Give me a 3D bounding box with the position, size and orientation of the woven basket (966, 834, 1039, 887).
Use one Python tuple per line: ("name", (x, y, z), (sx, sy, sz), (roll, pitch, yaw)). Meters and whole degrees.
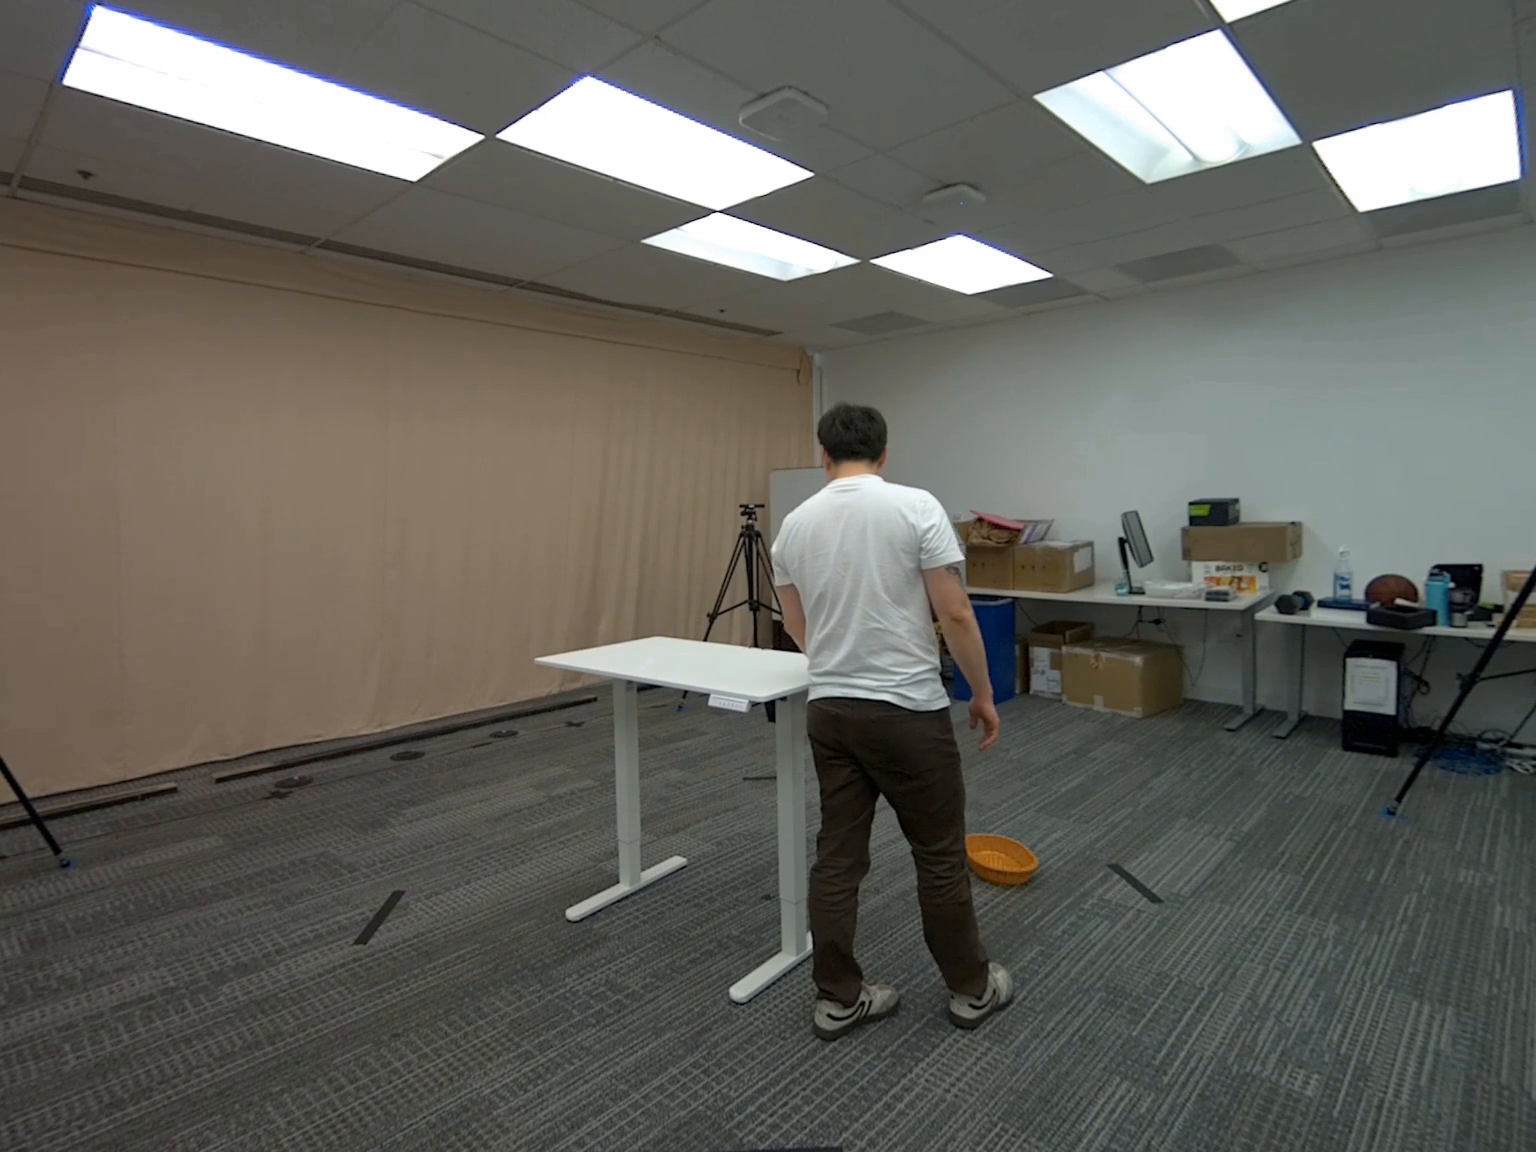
("woven basket", (0.872, 1.072, 3.178), (0.252, 0.073, 0.351), (0, 4, -1))
